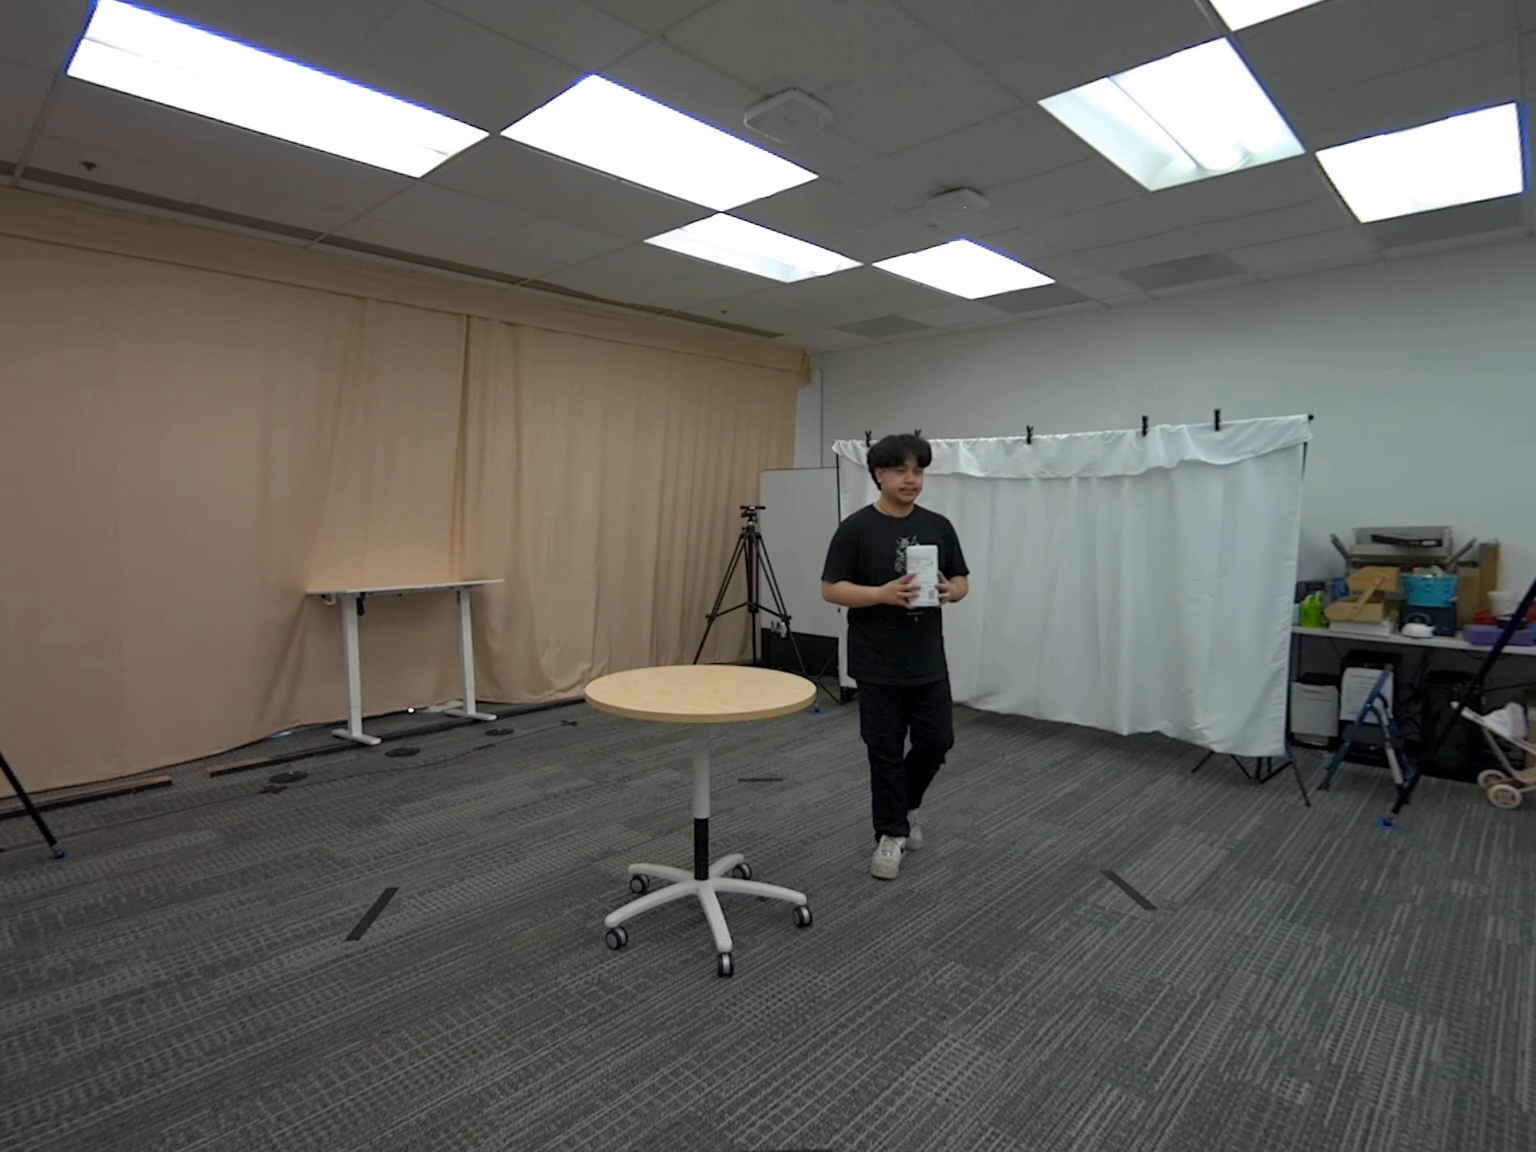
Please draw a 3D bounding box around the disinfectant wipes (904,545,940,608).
[{"bbox_3d":[0.559,0.003,3.027,0.118,0.217,0.118,-1,2,-2],"label":"disinfectant wipes"}]
